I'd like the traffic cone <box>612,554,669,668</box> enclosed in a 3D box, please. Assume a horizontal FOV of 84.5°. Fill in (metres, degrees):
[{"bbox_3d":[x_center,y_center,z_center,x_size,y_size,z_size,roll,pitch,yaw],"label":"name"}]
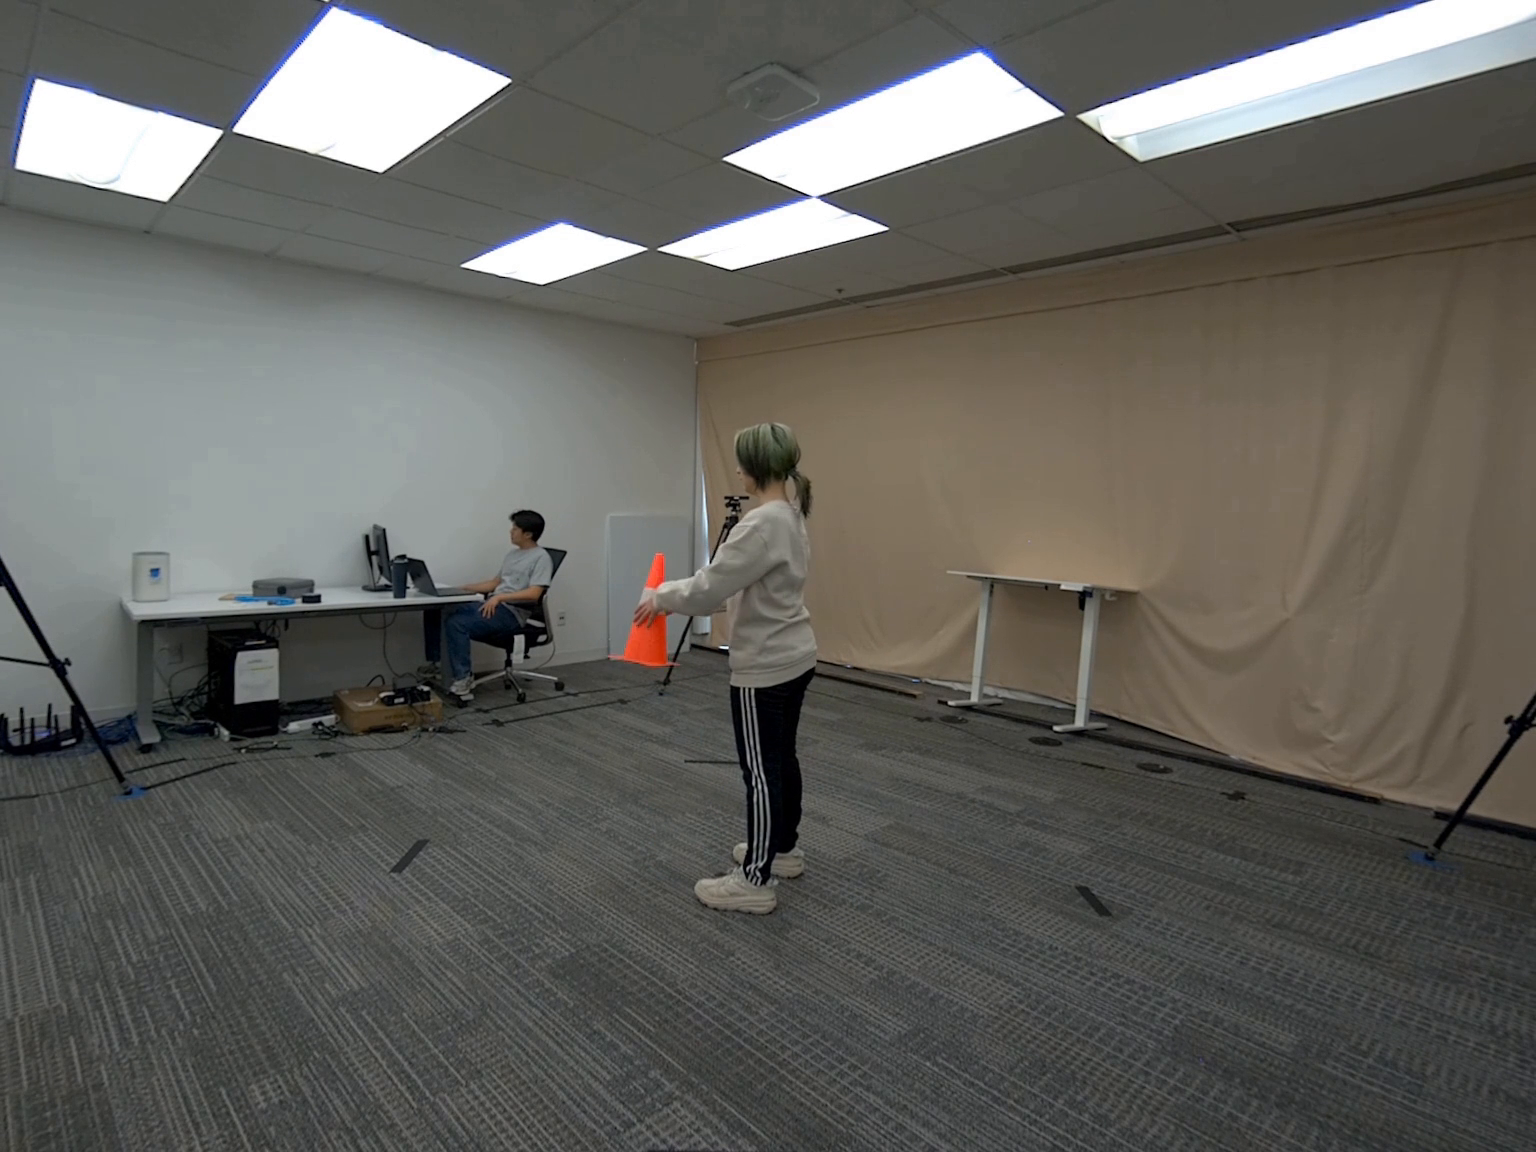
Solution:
[{"bbox_3d":[-0.405,0.104,2.992,0.208,0.384,0.200,6,-3,31],"label":"traffic cone"}]
